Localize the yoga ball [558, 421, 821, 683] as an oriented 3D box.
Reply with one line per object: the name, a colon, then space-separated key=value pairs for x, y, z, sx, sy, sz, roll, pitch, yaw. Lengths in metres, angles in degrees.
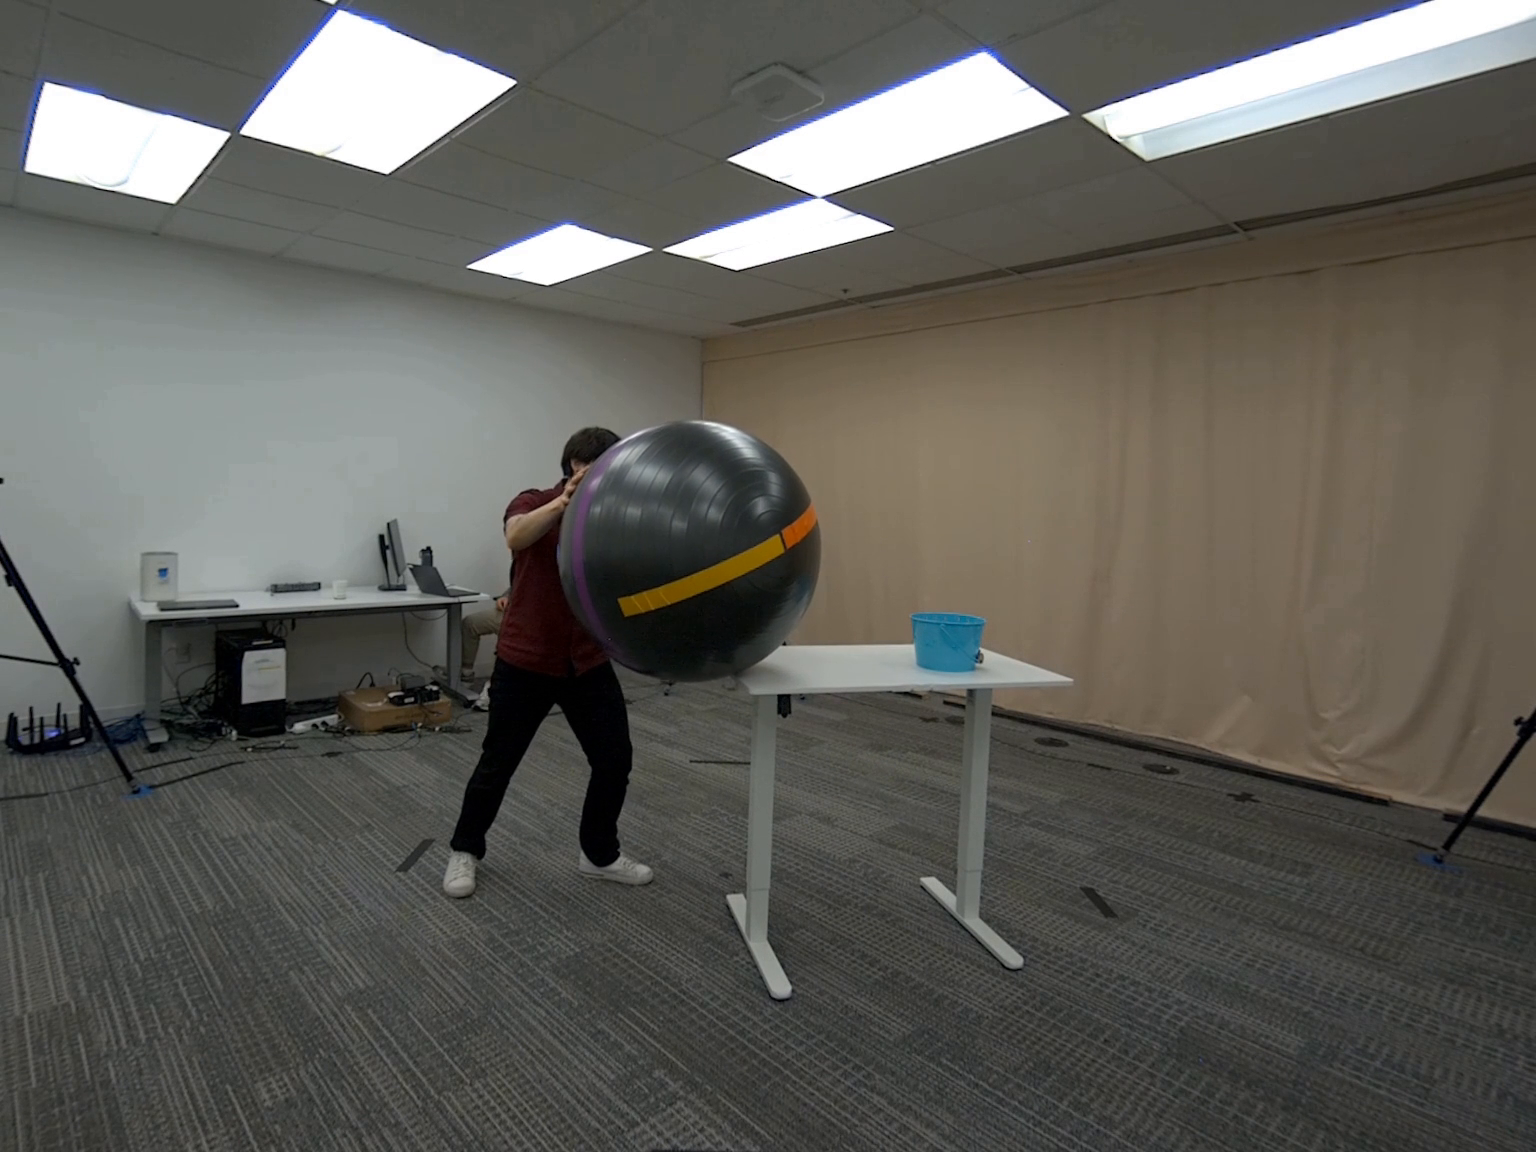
yoga ball: x=-0.226 y=-0.064 z=2.443 sx=0.757 sy=0.756 sz=0.760 roll=1 pitch=4 yaw=-1
